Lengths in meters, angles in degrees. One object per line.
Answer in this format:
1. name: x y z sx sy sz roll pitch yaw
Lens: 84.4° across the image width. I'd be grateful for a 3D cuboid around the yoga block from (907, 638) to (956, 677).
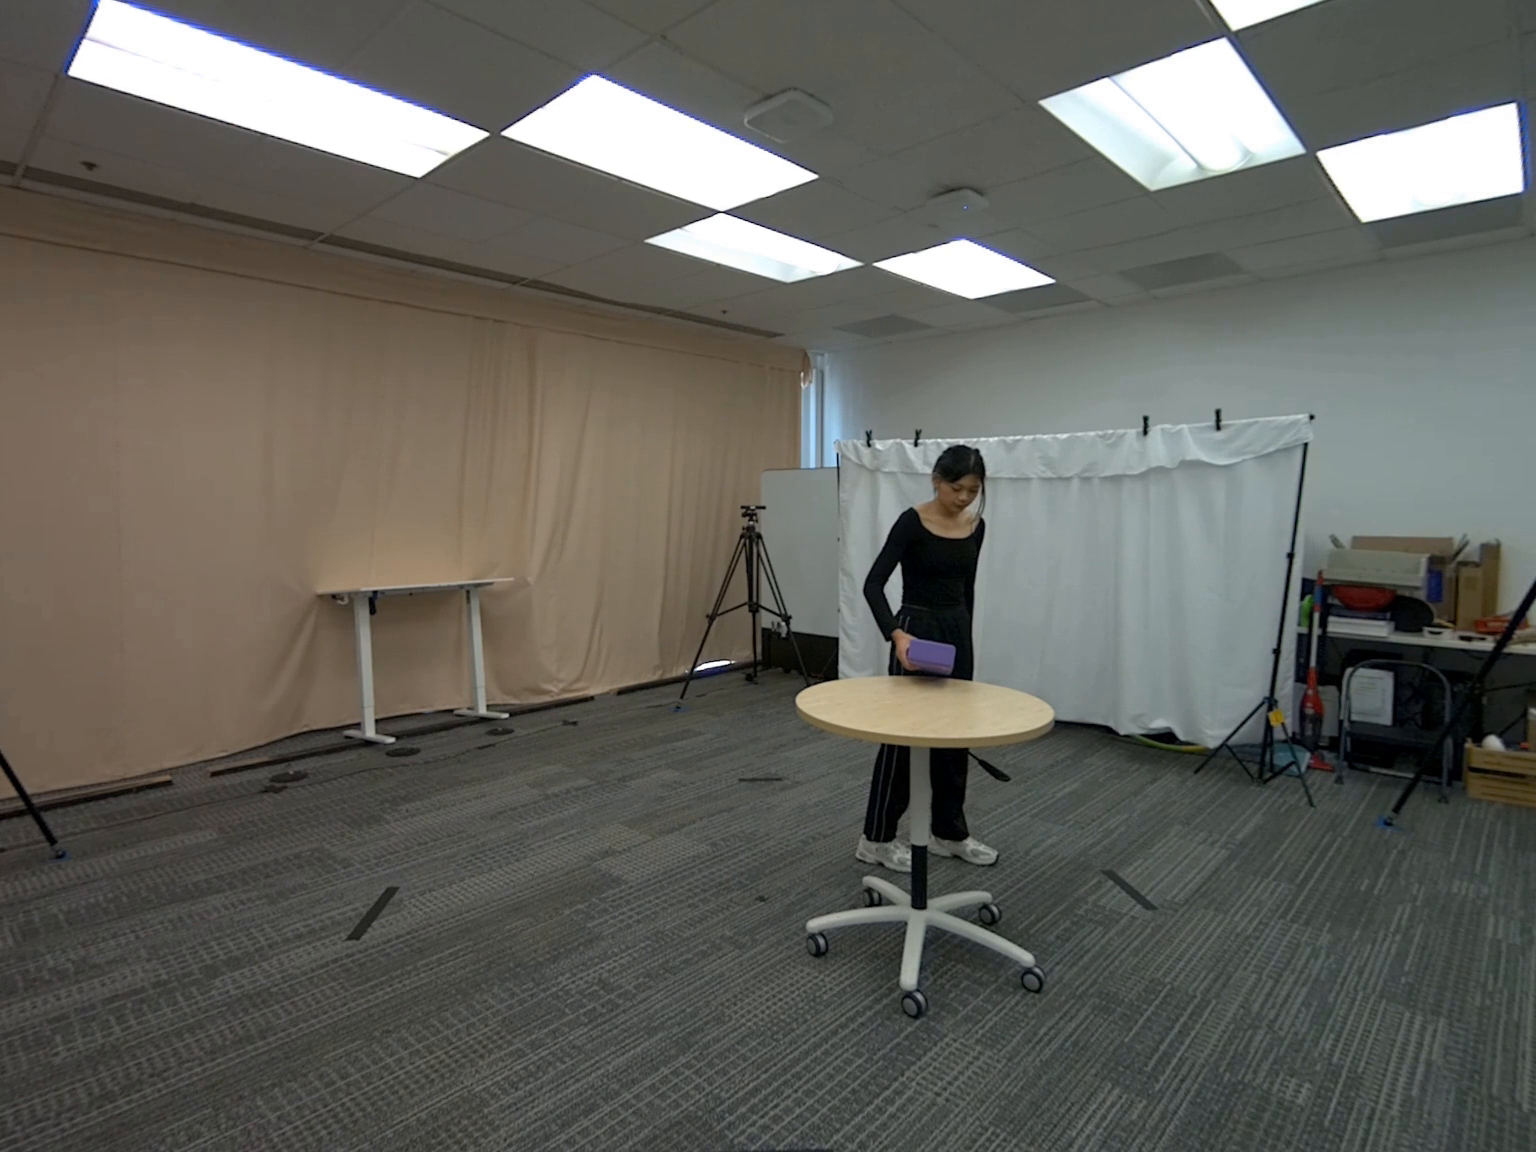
1. yoga block: 0.550 0.272 2.868 0.151 0.077 0.226 9 -9 8
